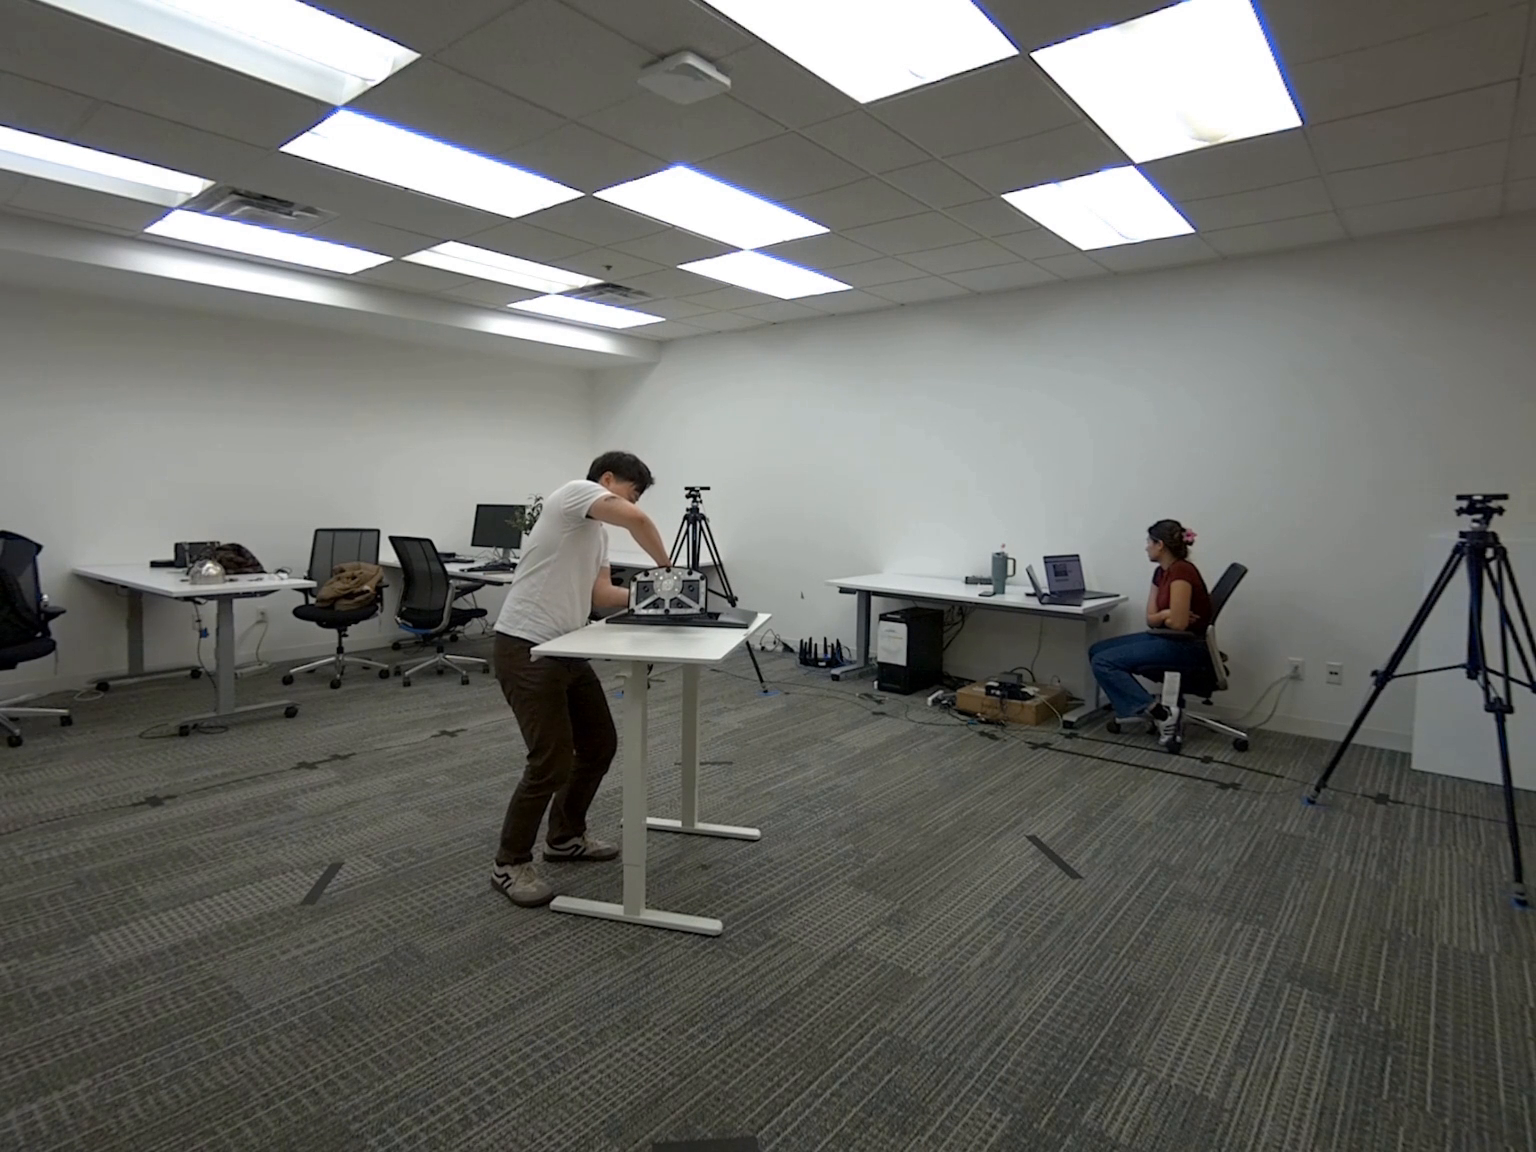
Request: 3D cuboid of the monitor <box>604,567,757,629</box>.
[{"bbox_3d":[-0.343,0.111,3.202,0.545,0.189,0.511,3,-13,8],"label":"monitor"}]
